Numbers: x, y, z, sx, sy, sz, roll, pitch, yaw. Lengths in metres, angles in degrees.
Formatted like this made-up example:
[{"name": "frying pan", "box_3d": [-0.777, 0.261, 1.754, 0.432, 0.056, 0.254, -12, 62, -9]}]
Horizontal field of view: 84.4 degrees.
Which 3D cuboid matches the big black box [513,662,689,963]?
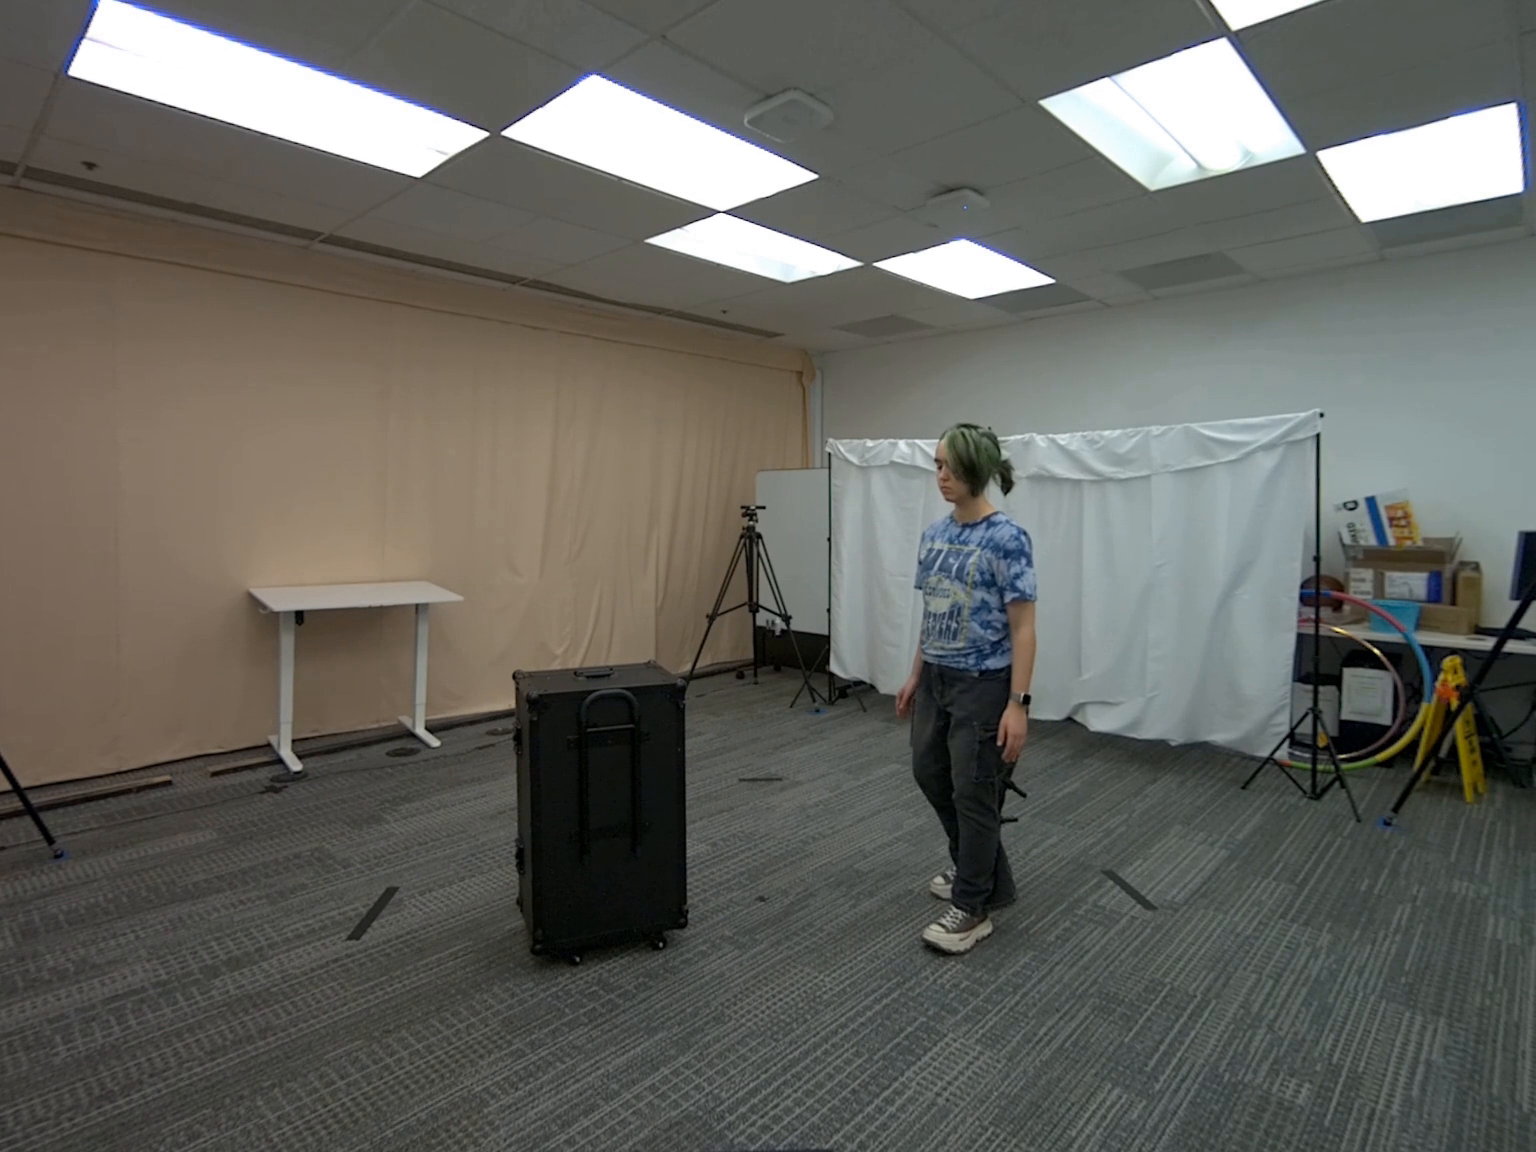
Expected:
[{"name": "big black box", "box_3d": [-0.531, 0.751, 2.700, 0.510, 0.859, 0.405, -2, 4, -21]}]
